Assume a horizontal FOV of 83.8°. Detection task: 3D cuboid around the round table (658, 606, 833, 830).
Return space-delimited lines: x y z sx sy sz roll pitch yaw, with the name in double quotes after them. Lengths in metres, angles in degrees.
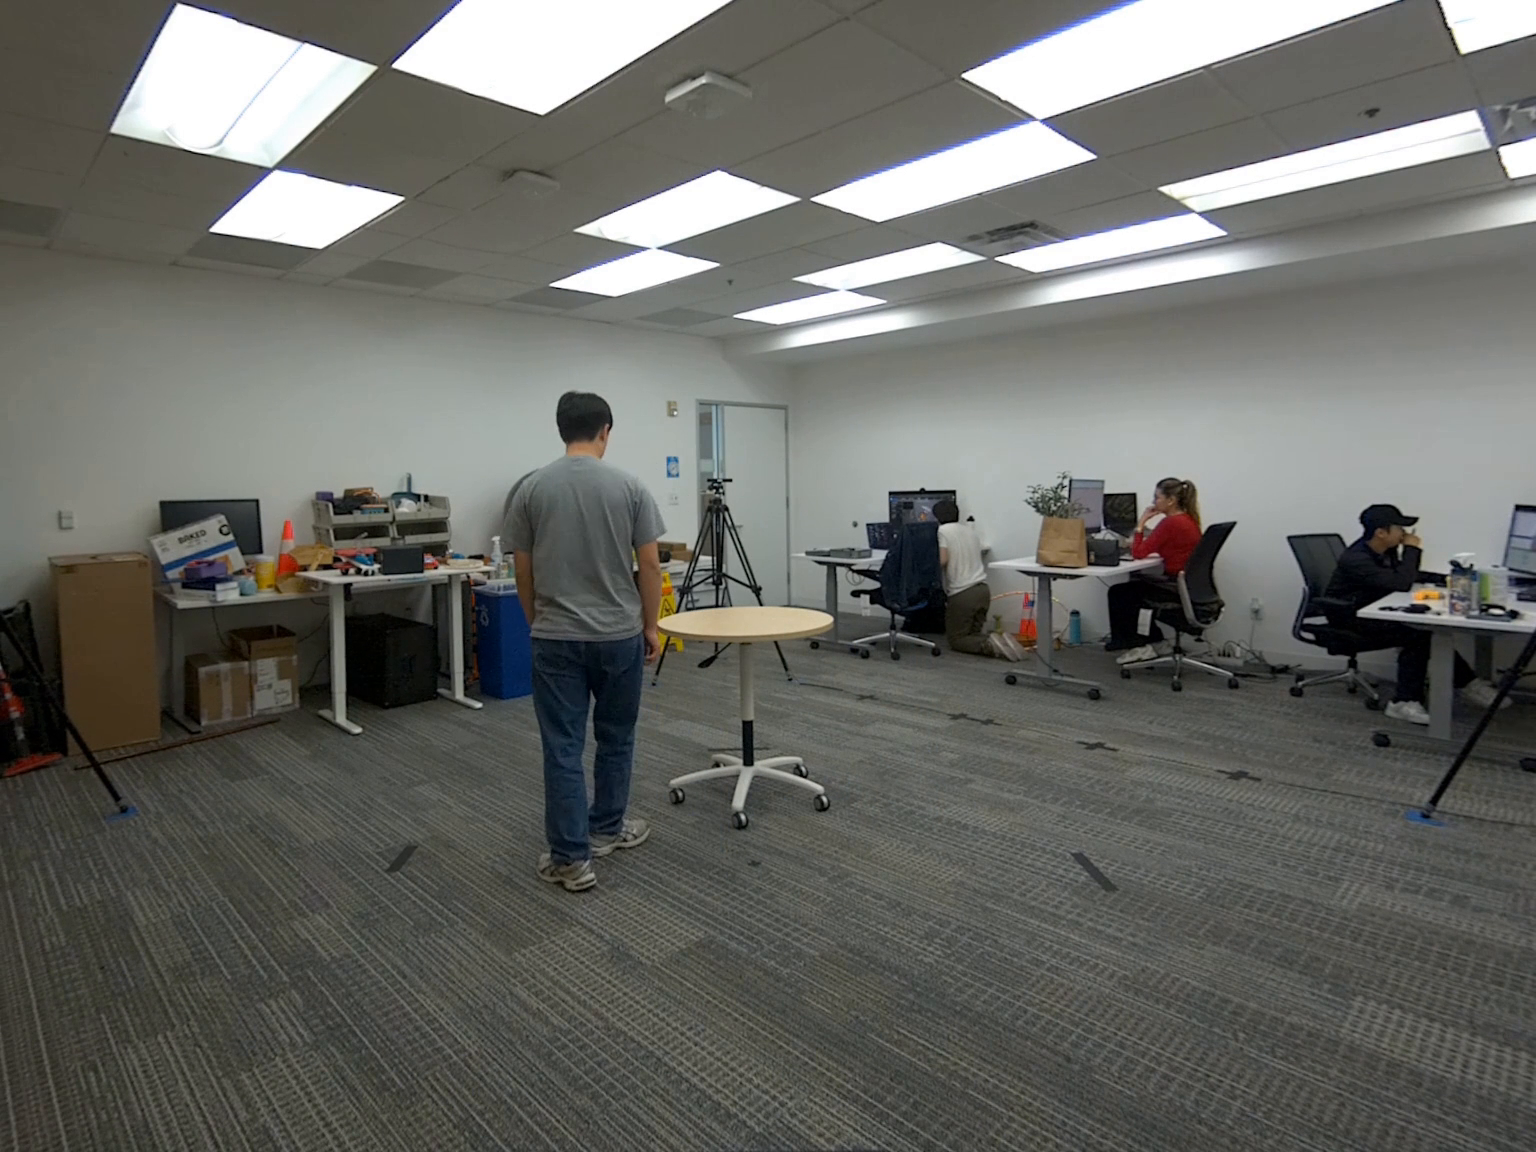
-0.089 0.586 3.750 0.763 0.791 0.767 -1 4 -2 "round table"
